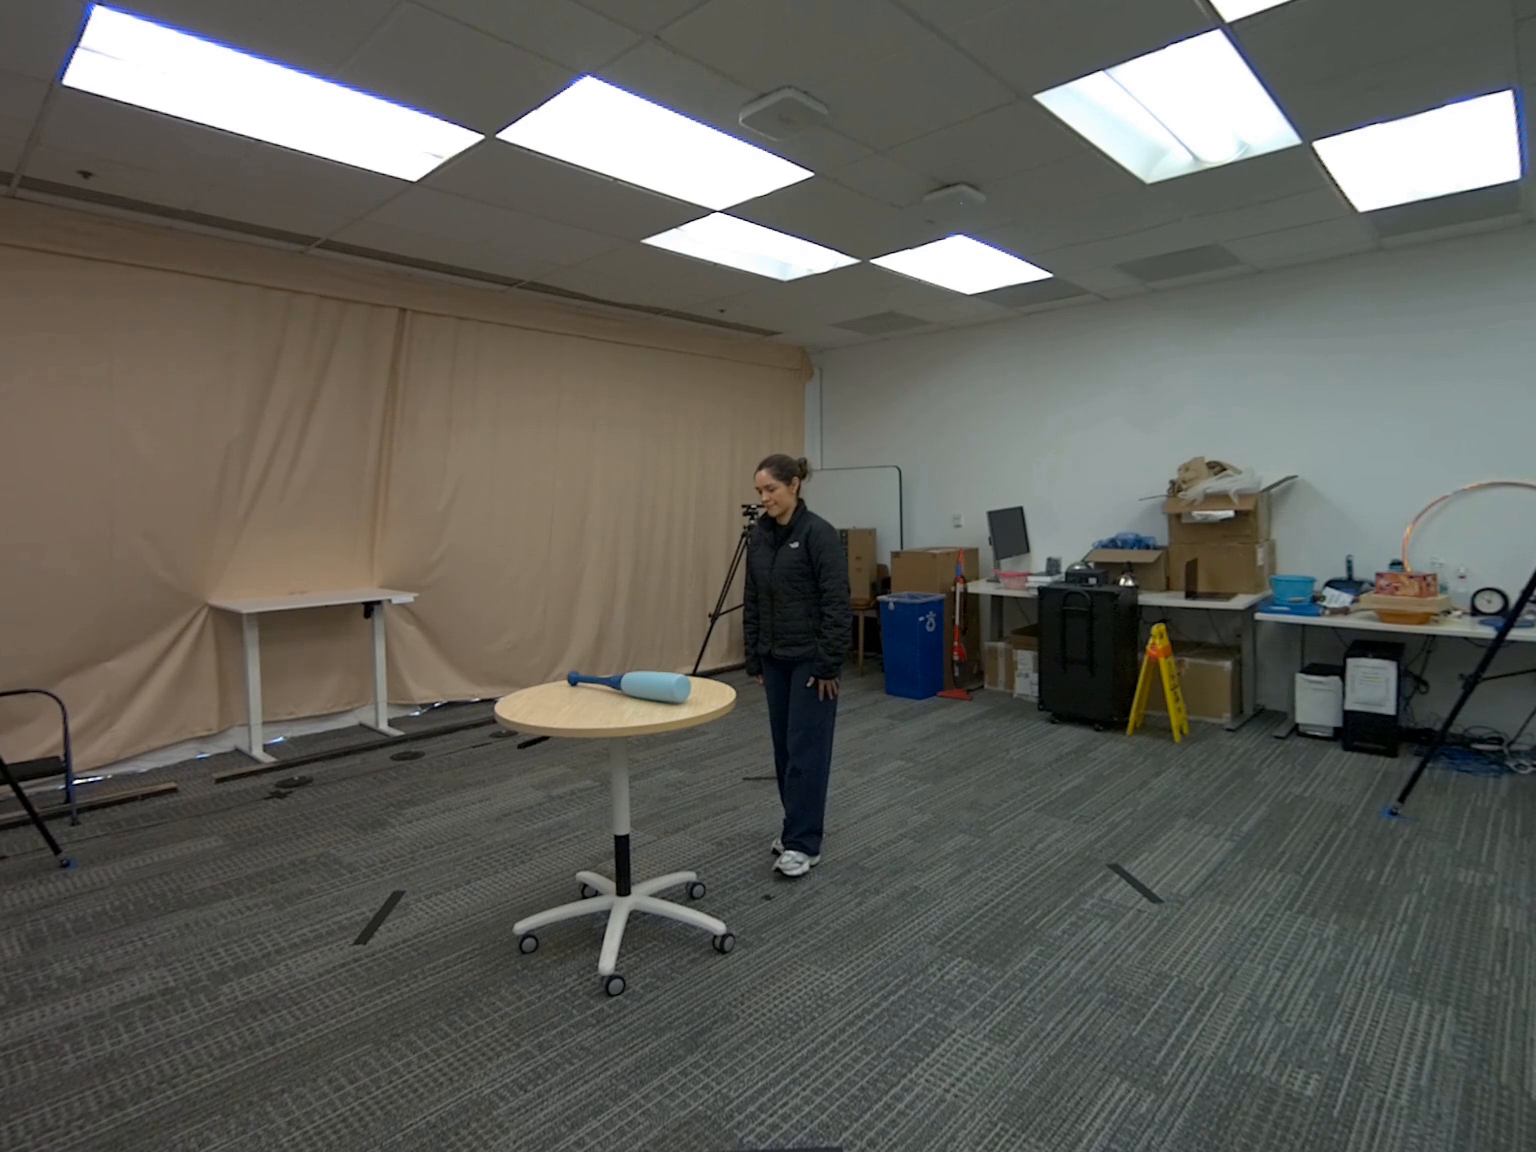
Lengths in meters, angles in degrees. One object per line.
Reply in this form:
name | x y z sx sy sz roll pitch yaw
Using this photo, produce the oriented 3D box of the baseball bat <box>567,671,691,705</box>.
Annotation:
baseball bat | -0.457 0.351 2.742 0.560 0.089 0.086 -2 2 38
